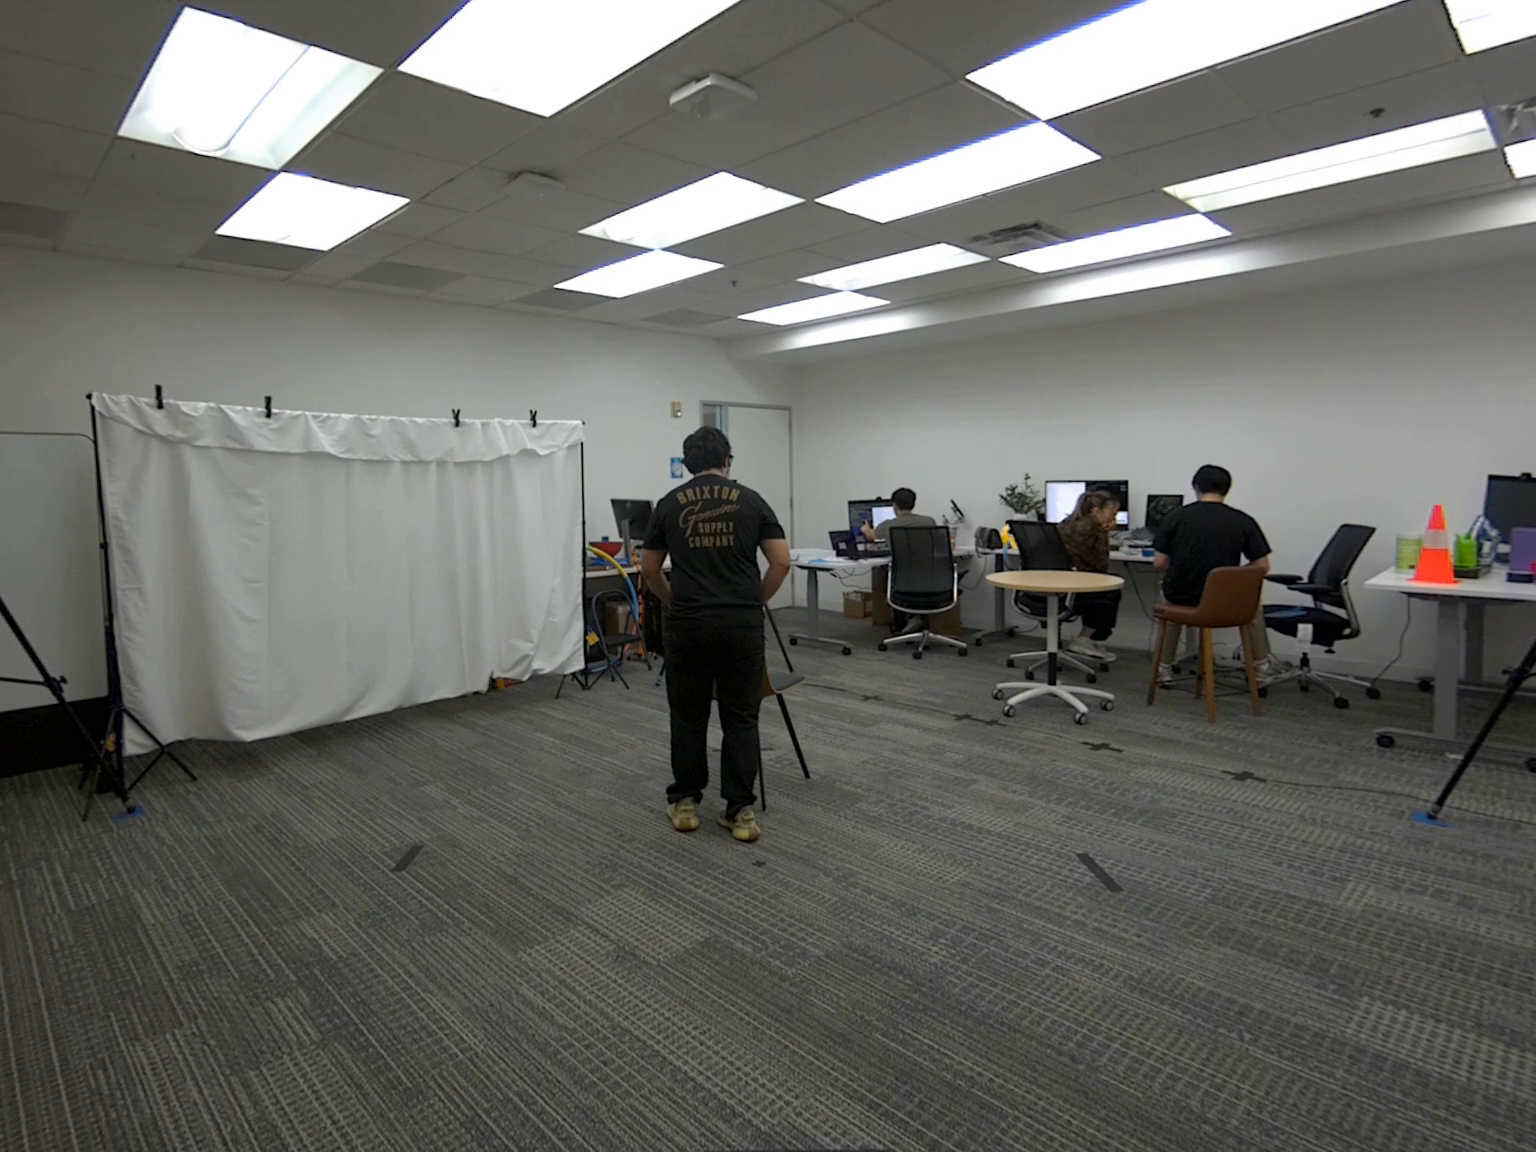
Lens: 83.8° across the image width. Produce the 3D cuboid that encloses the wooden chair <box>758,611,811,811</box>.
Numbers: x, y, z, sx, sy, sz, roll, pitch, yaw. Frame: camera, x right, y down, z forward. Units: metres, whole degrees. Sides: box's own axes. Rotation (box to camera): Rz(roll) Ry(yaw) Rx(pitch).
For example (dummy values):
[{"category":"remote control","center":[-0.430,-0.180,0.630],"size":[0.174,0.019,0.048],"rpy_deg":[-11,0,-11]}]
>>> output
[{"category":"wooden chair","center":[-0.114,0.534,3.892],"size":[0.490,0.871,0.514],"rpy_deg":[1,8,29]}]
